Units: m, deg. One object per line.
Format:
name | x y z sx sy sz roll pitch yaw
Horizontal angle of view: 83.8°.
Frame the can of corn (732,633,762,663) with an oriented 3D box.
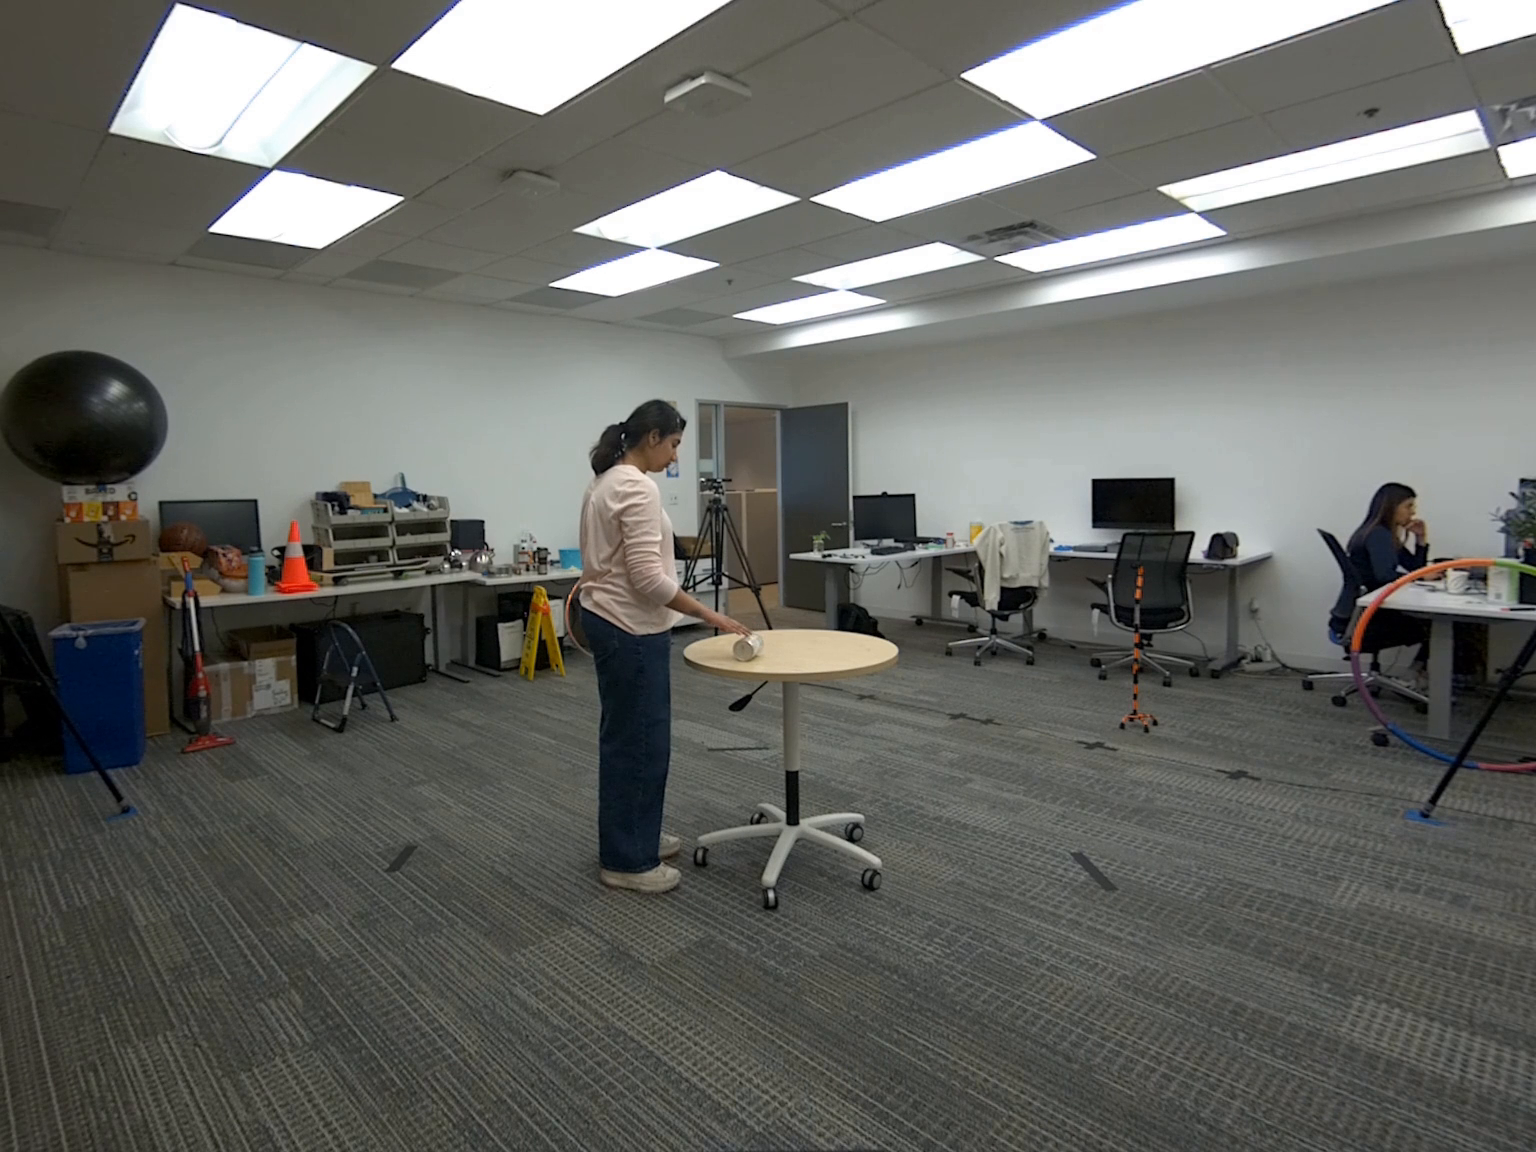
can of corn | -0.069 0.242 2.923 0.075 0.074 0.109 0 4 16
